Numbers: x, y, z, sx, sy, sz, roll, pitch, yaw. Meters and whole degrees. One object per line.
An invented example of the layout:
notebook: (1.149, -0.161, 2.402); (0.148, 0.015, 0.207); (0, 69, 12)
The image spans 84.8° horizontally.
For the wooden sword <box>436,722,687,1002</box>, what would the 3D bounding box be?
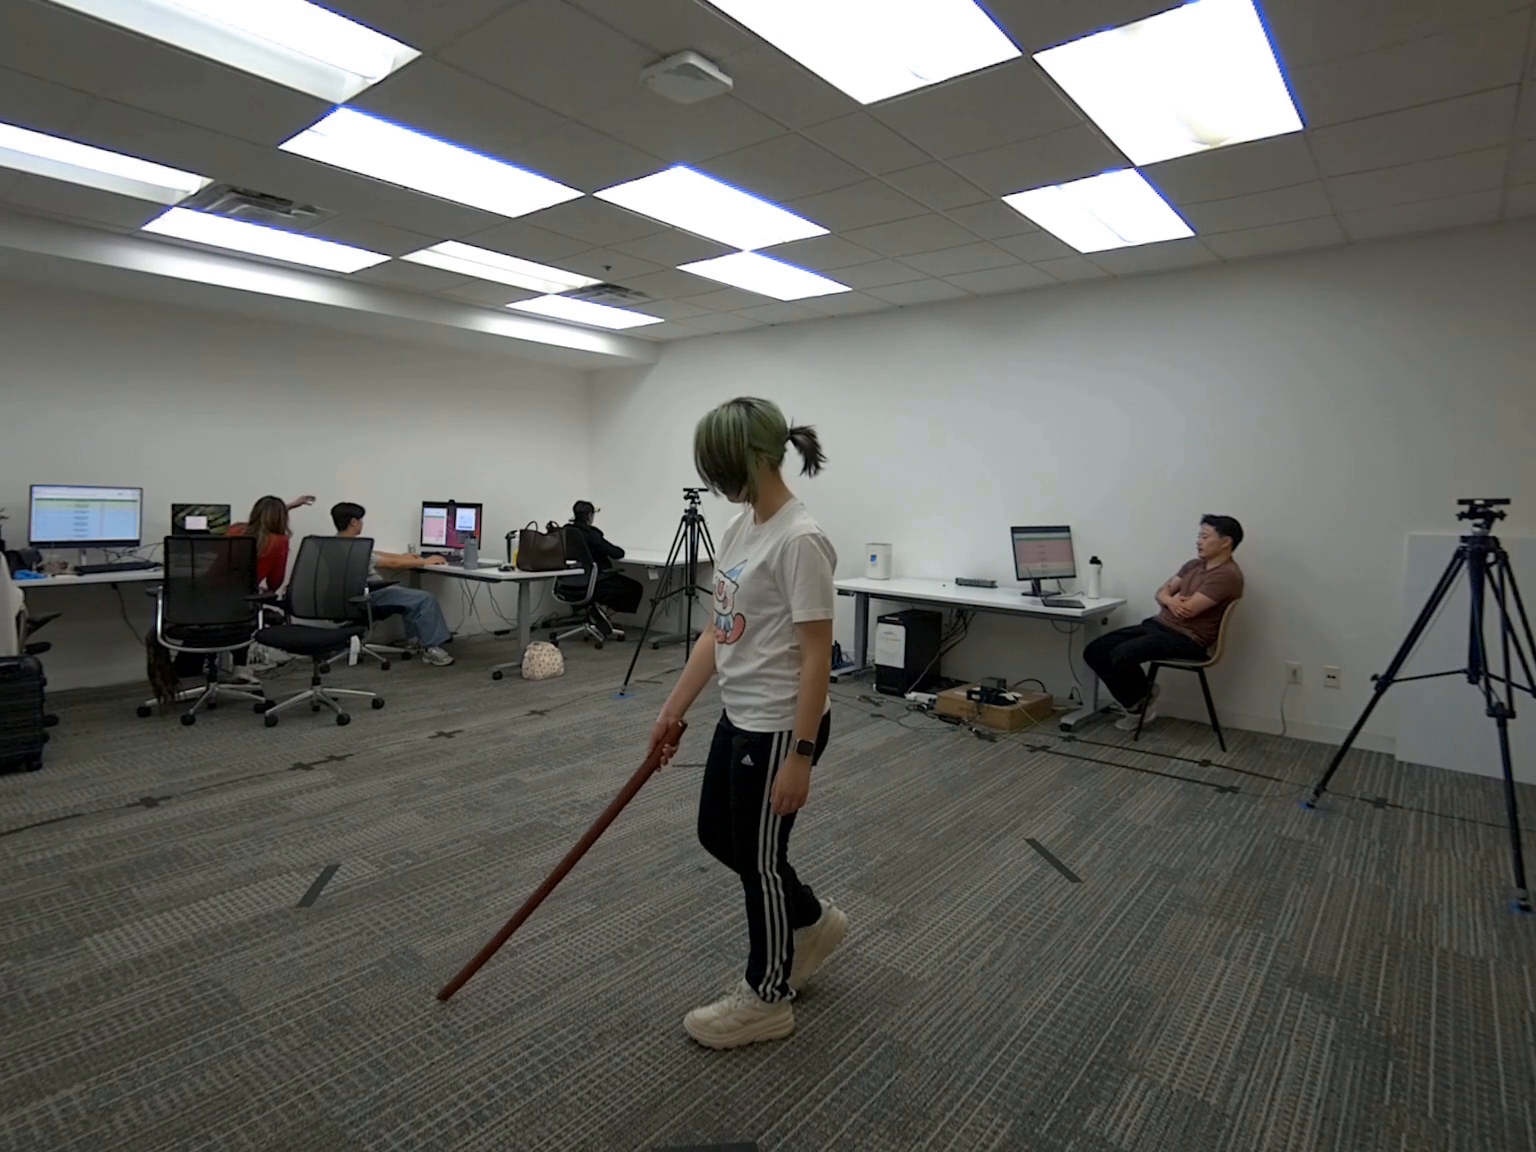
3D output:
wooden sword: (-0.562, 0.771, 2.233); (0.053, 1.024, 0.023); (44, 6, 28)
